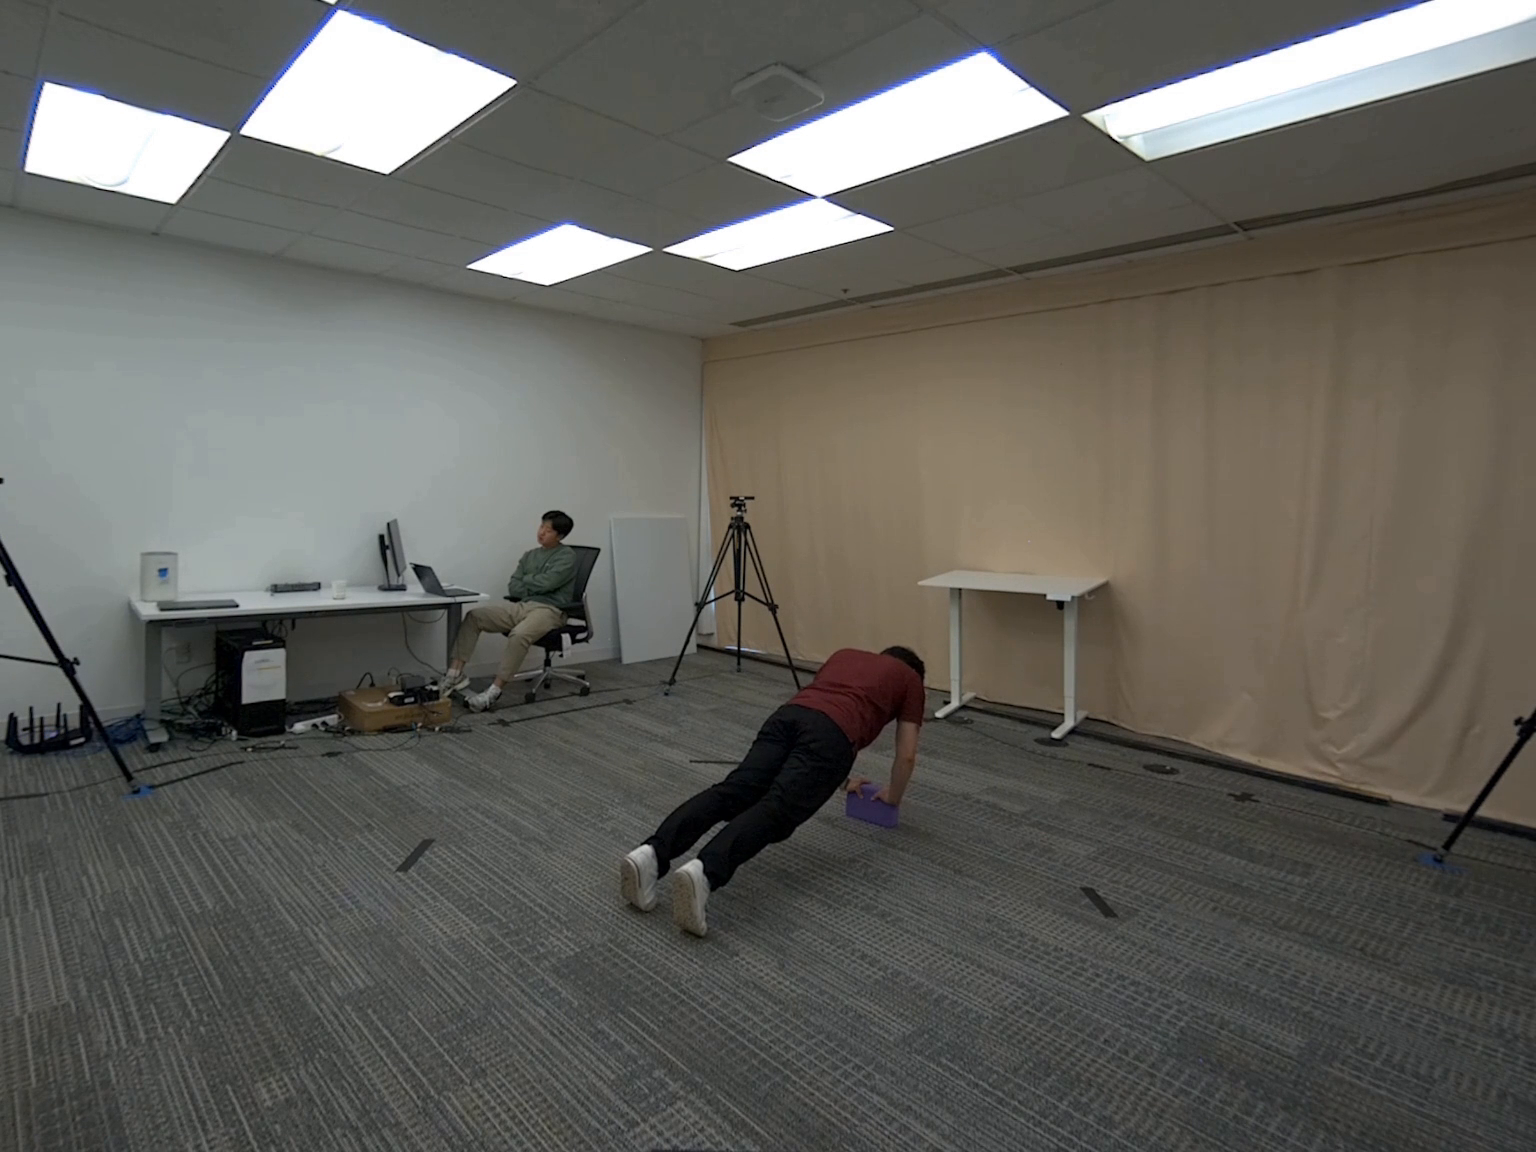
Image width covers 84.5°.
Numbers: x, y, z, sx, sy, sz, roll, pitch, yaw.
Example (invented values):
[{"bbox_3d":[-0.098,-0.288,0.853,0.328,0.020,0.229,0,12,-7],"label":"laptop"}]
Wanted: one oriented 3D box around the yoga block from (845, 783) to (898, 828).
[{"bbox_3d":[0.445,1.000,3.694,0.235,0.149,0.074,3,-3,38],"label":"yoga block"}]
